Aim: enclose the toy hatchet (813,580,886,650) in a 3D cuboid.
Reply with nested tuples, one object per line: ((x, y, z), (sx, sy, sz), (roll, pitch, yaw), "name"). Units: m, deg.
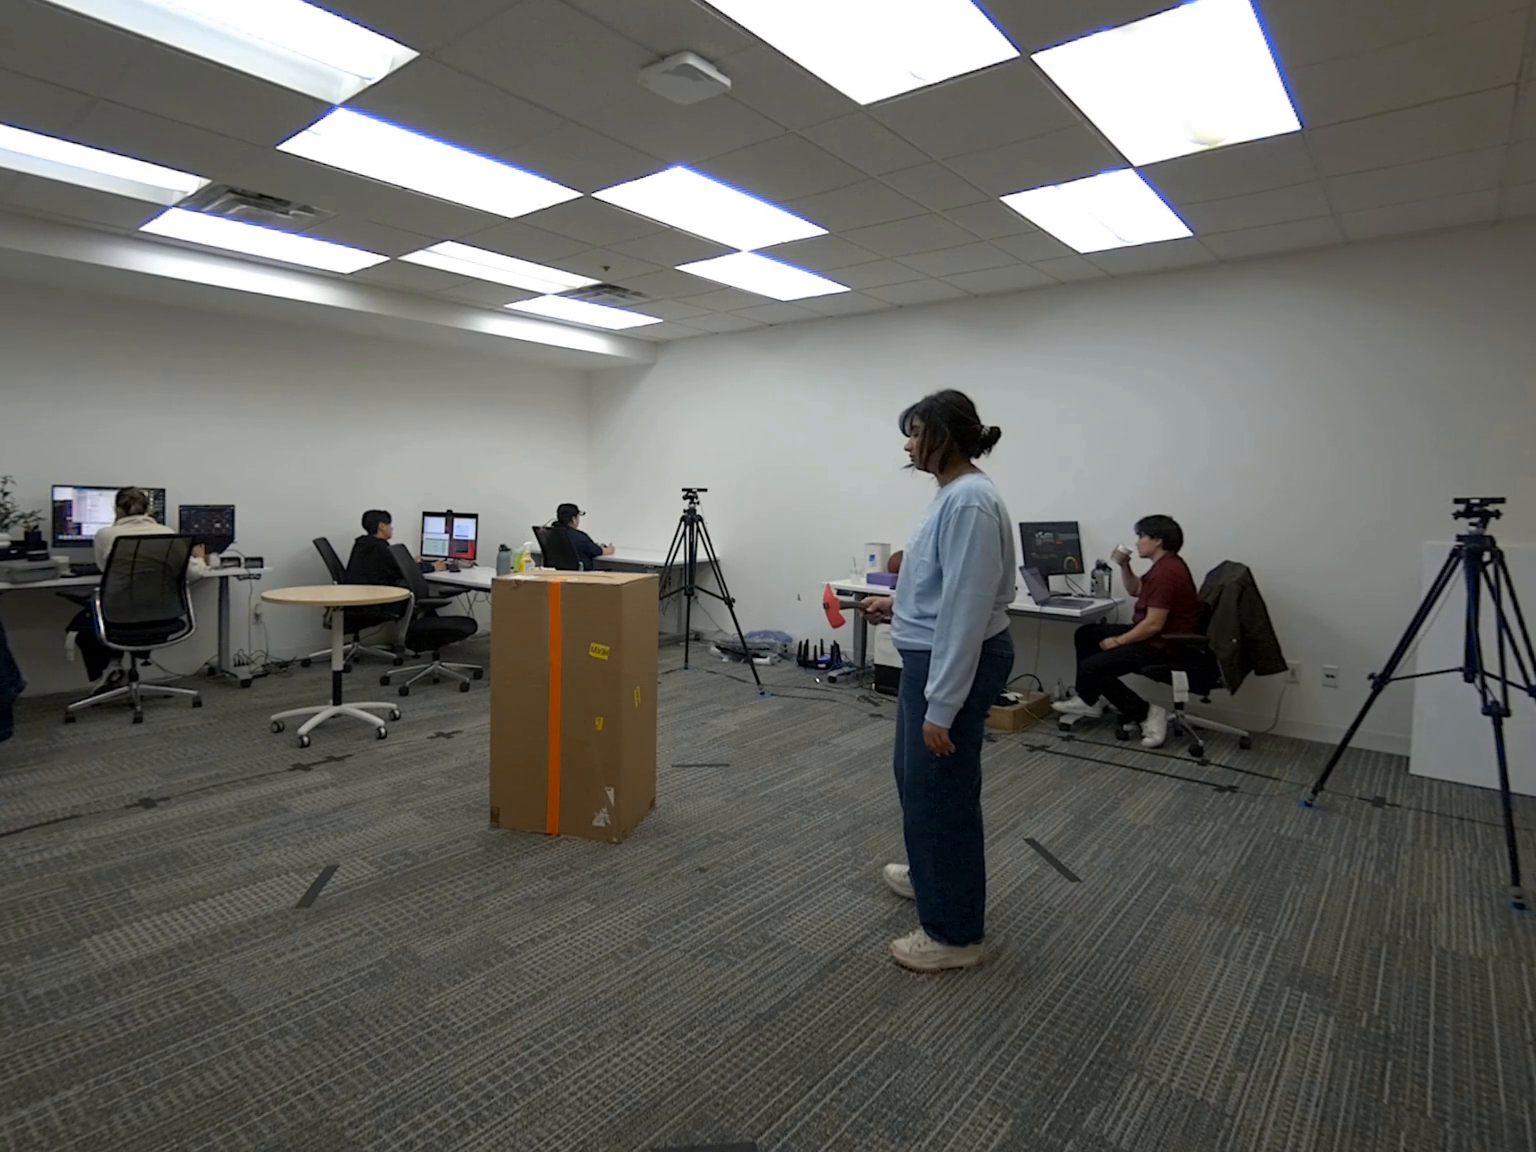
((0.254, 0.119, 2.582), (0.261, 0.133, 0.030), (23, -30, -30), "toy hatchet")
